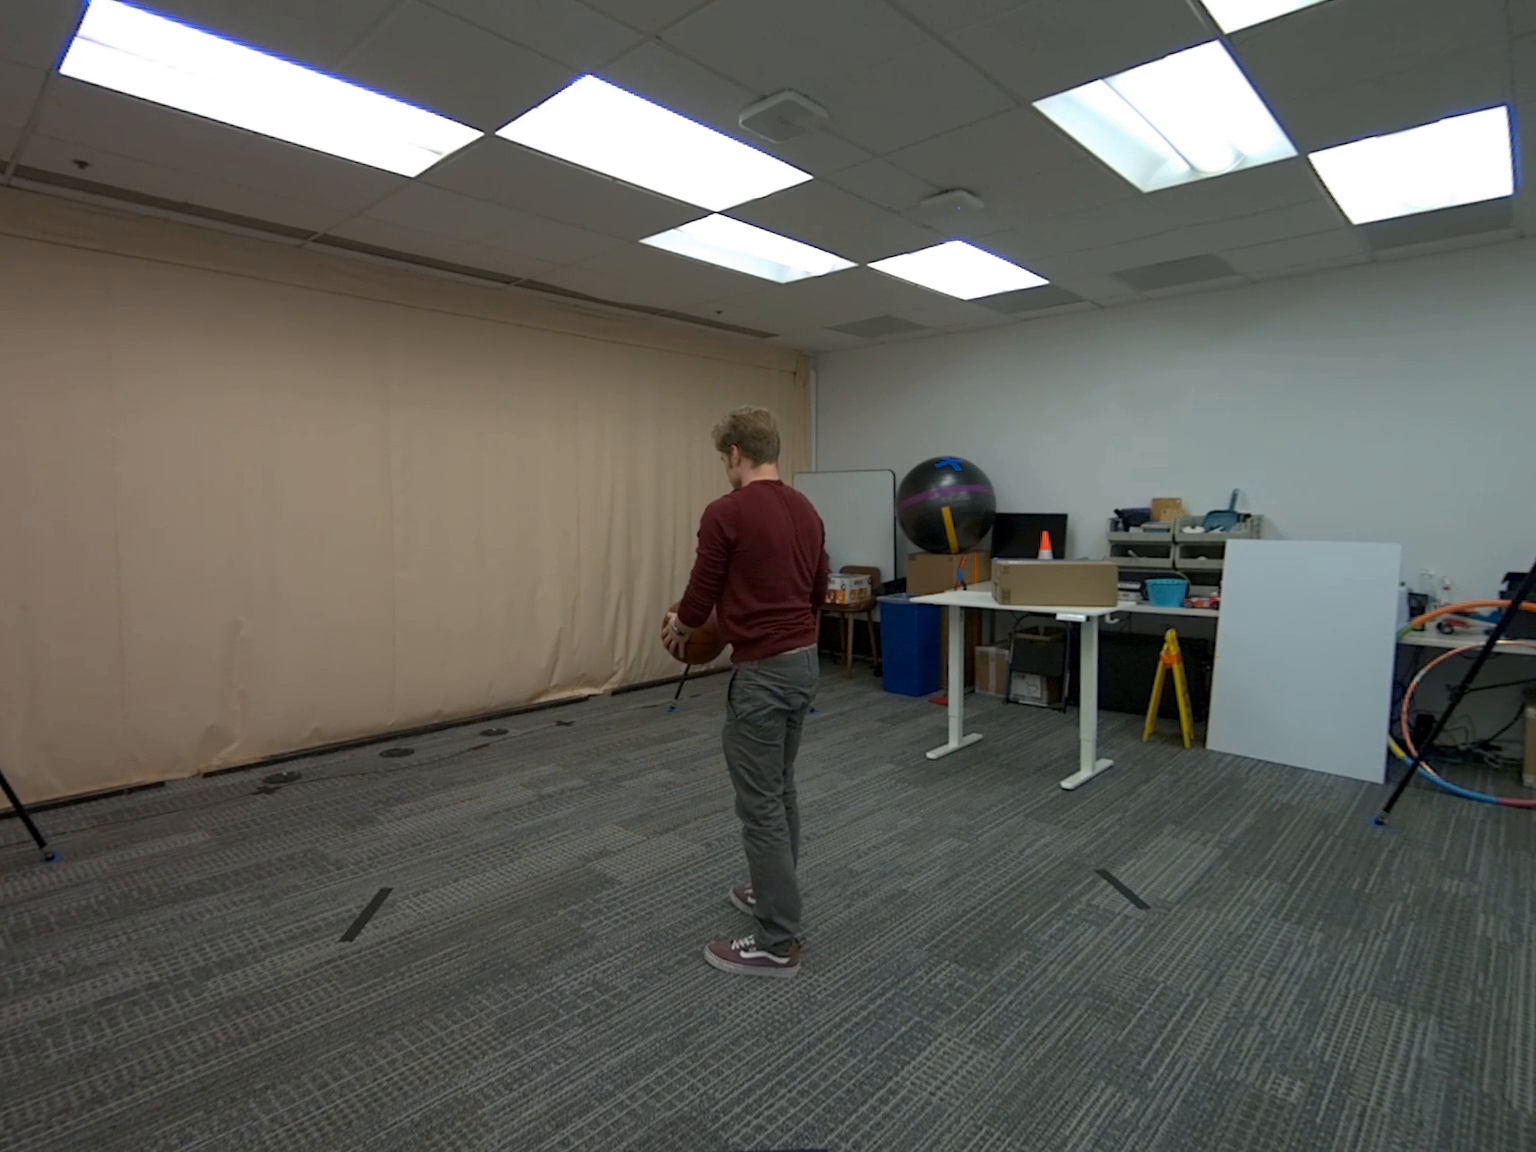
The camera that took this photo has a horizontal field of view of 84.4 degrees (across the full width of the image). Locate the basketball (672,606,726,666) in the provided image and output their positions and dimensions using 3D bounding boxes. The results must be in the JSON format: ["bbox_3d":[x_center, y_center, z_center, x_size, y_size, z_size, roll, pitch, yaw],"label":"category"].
[{"bbox_3d":[-0.255,0.194,2.966,0.236,0.235,0.237,0,4,-2],"label":"basketball"}]
